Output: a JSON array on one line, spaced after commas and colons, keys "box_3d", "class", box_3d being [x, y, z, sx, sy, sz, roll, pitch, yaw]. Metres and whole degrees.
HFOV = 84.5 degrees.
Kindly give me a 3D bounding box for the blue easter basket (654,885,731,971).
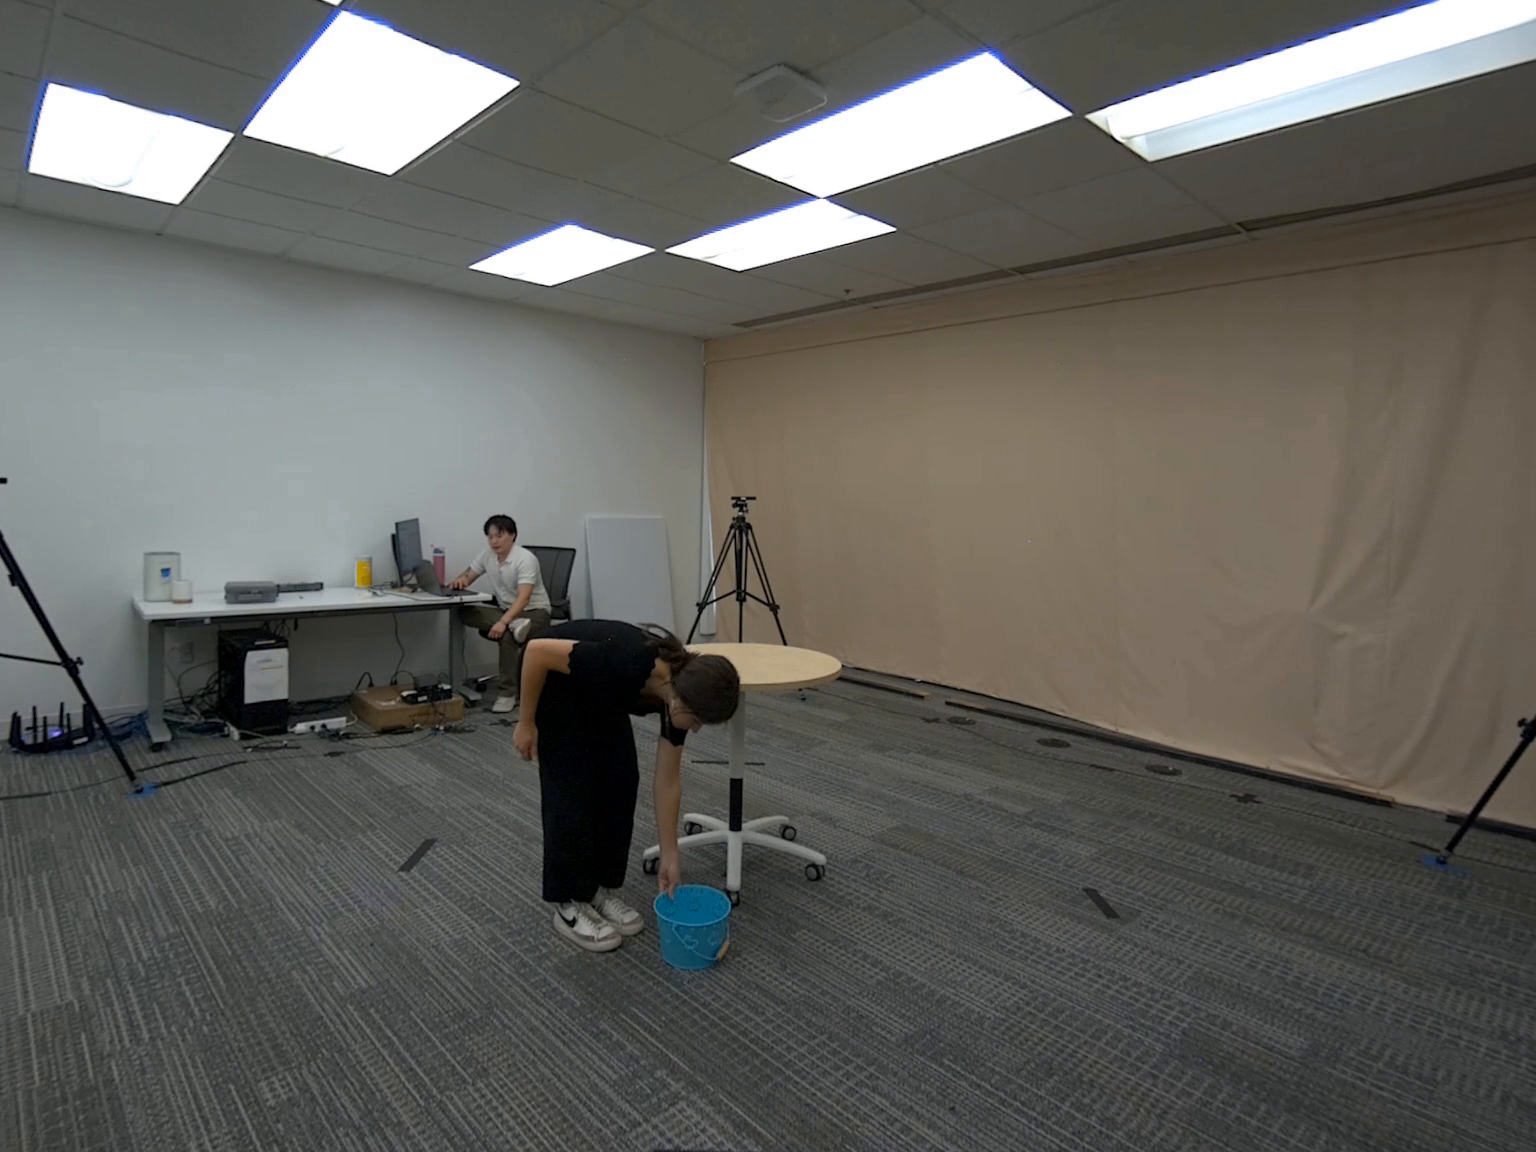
[{"box_3d": [-0.250, 1.070, 2.544, 0.243, 0.155, 0.245, 2, 8, -2], "class": "blue easter basket"}]
